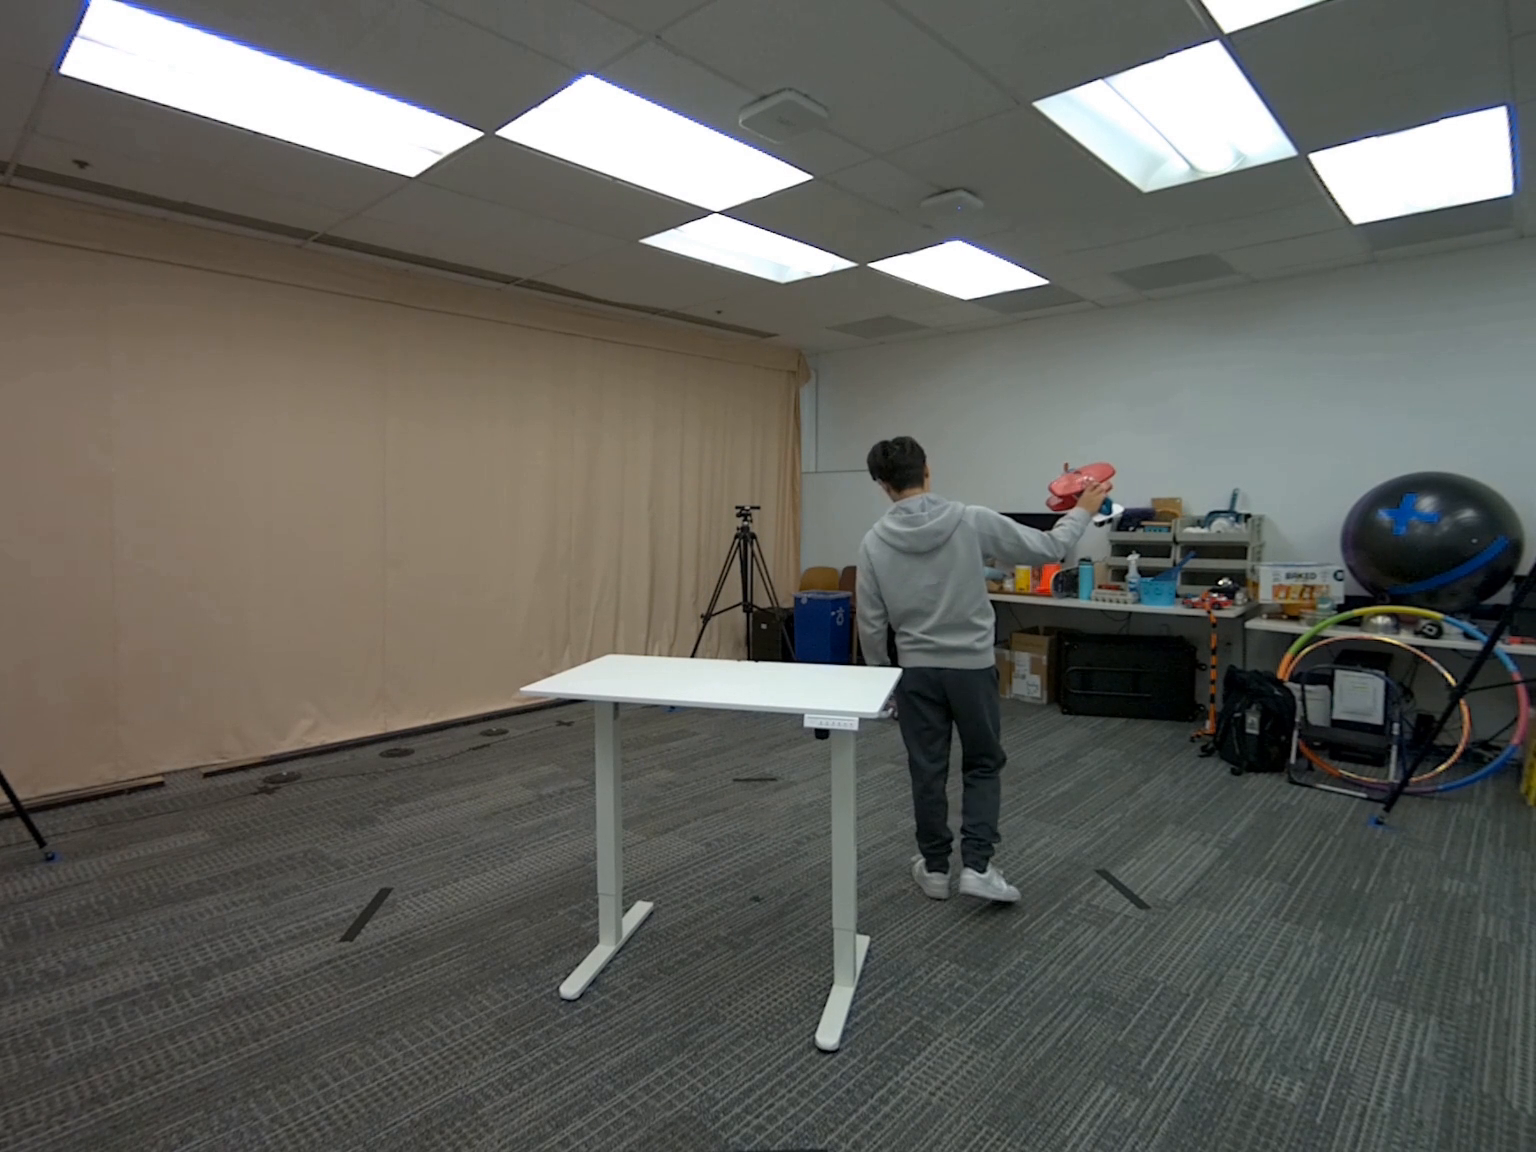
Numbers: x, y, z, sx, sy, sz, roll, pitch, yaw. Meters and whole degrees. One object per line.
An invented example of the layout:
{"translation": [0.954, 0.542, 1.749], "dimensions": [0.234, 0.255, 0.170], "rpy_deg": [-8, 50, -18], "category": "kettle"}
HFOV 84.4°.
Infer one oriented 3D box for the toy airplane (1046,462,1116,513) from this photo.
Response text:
{"translation": [1.197, -0.298, 3.079], "dimensions": [0.269, 0.152, 0.248], "rpy_deg": [19, 48, 43], "category": "toy airplane"}
